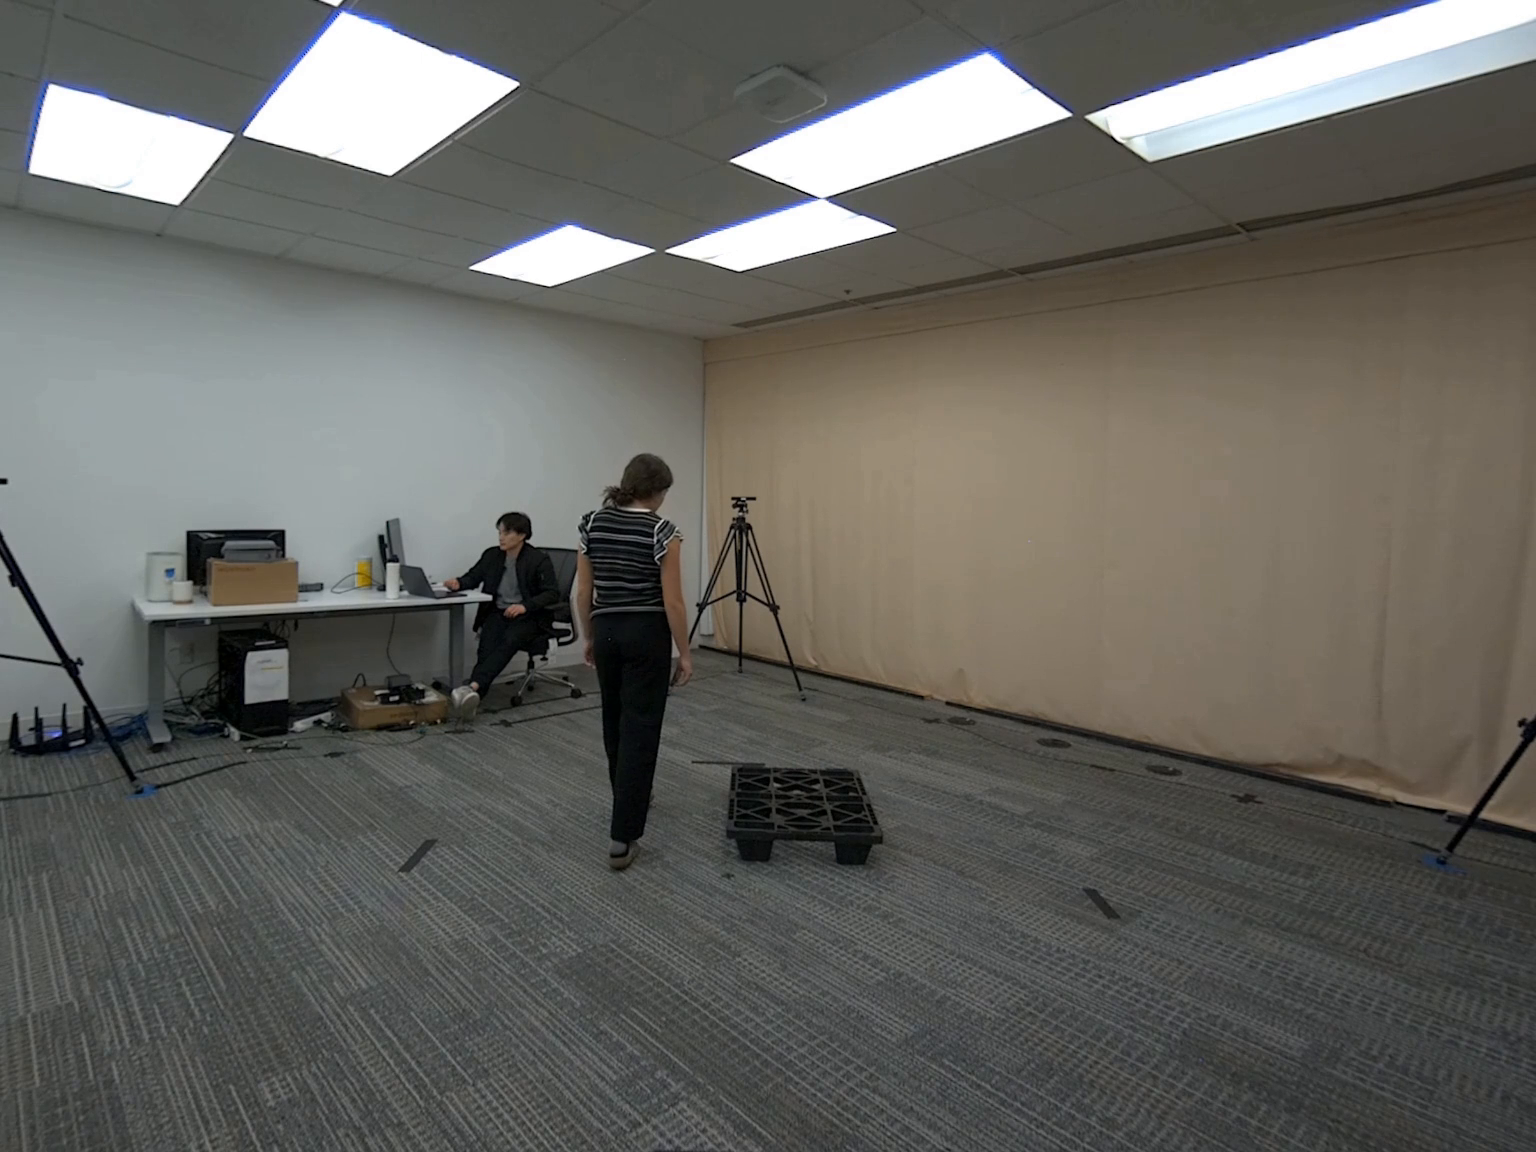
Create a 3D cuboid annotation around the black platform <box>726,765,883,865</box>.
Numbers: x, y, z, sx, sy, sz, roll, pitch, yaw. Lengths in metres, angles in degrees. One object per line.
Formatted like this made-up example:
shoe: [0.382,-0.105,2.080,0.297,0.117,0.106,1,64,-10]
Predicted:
black platform: [0.123,1.002,3.591,0.605,0.143,0.807,2,5,0]
